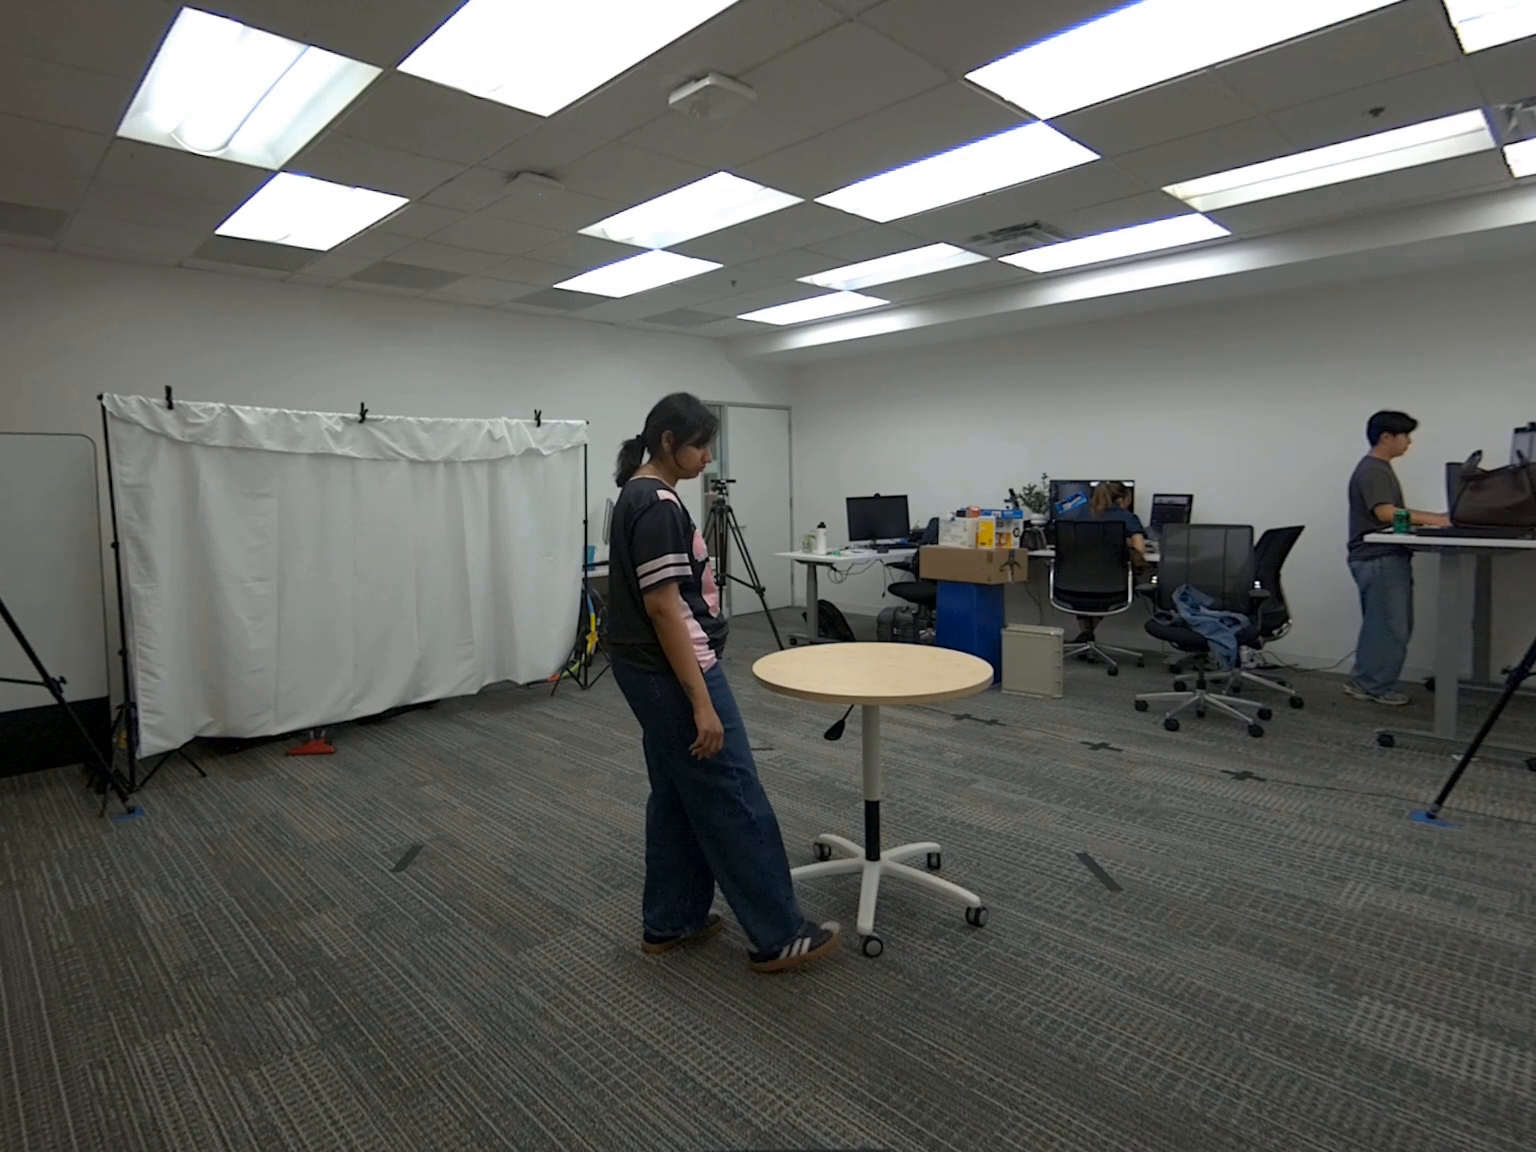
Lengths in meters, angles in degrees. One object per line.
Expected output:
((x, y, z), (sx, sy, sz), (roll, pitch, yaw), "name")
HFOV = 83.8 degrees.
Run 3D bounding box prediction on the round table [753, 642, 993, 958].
((0.352, 0.686, 2.808), (0.763, 0.791, 0.768), (-1, 5, -2), "round table")
